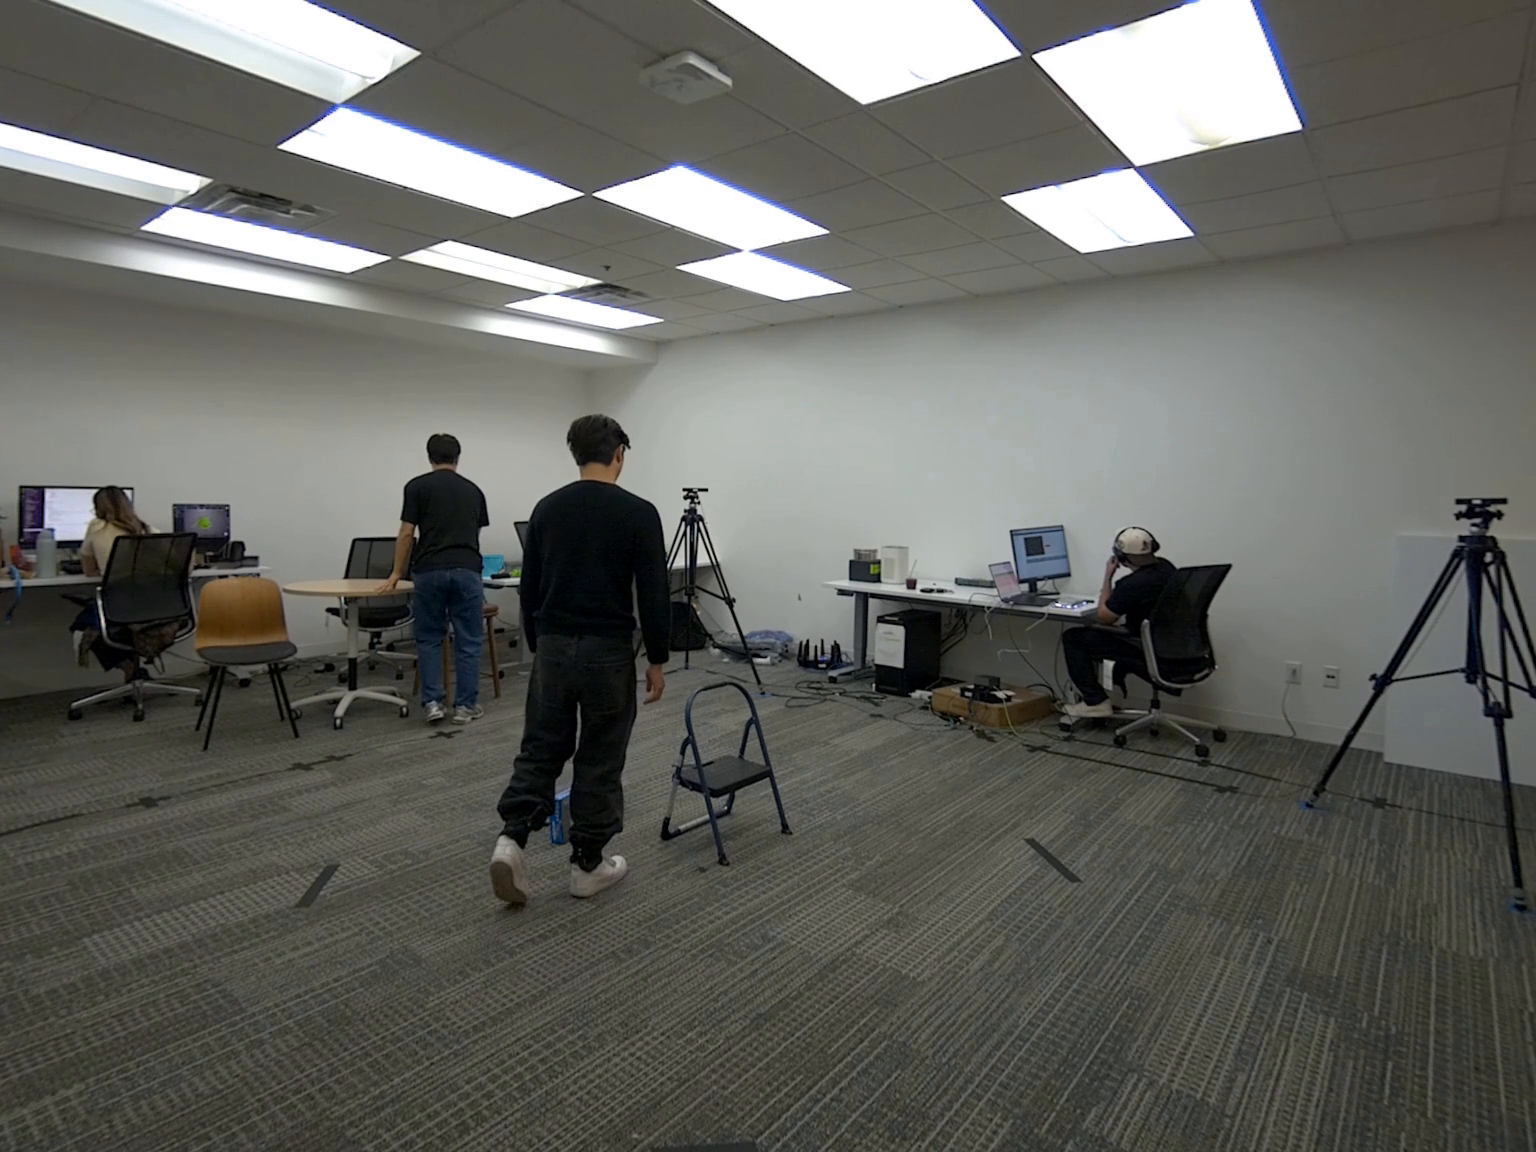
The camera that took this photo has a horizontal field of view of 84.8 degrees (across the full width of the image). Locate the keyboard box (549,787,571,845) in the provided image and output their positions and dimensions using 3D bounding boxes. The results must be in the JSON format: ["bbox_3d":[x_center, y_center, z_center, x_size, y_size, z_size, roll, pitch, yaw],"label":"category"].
[{"bbox_3d":[-0.763,0.932,3.506,0.060,0.176,0.428,-5,2,21],"label":"keyboard box"}]
